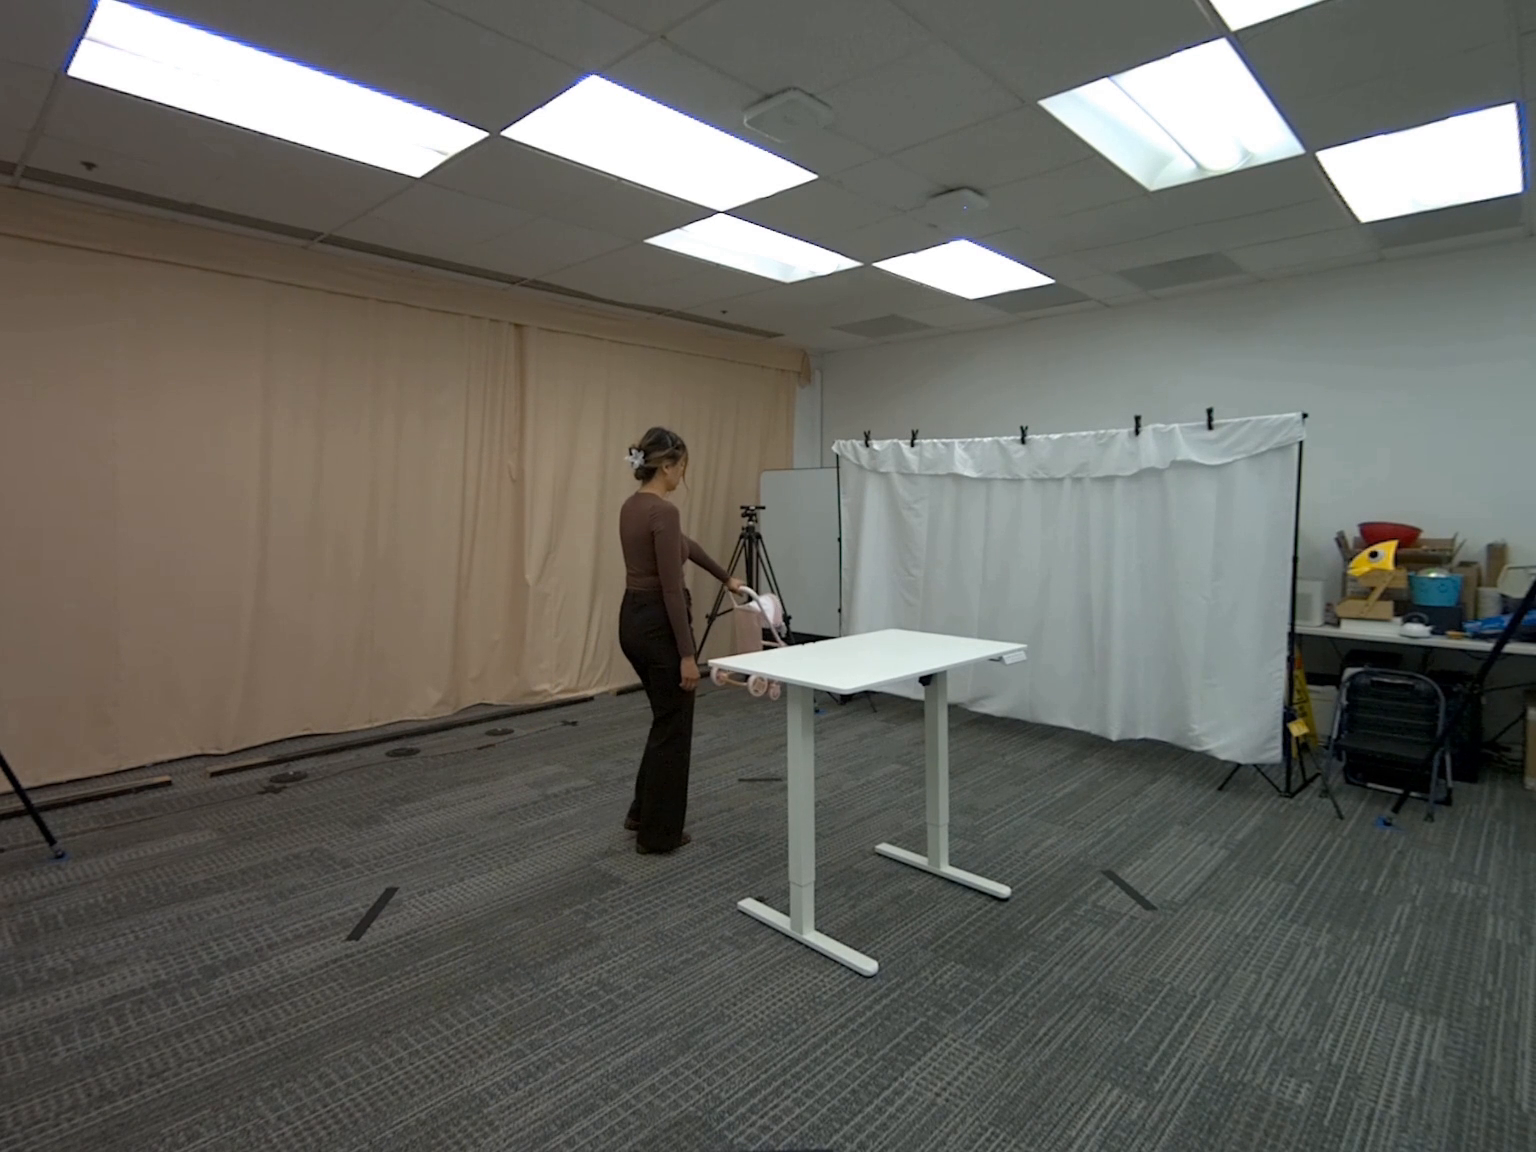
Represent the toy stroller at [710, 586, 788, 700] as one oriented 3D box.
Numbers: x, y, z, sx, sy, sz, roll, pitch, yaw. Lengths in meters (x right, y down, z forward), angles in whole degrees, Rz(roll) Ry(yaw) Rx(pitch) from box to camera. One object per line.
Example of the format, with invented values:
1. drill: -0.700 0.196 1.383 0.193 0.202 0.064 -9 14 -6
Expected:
1. toy stroller: -0.044 0.319 3.884 0.330 0.535 0.291 3 1 -39
